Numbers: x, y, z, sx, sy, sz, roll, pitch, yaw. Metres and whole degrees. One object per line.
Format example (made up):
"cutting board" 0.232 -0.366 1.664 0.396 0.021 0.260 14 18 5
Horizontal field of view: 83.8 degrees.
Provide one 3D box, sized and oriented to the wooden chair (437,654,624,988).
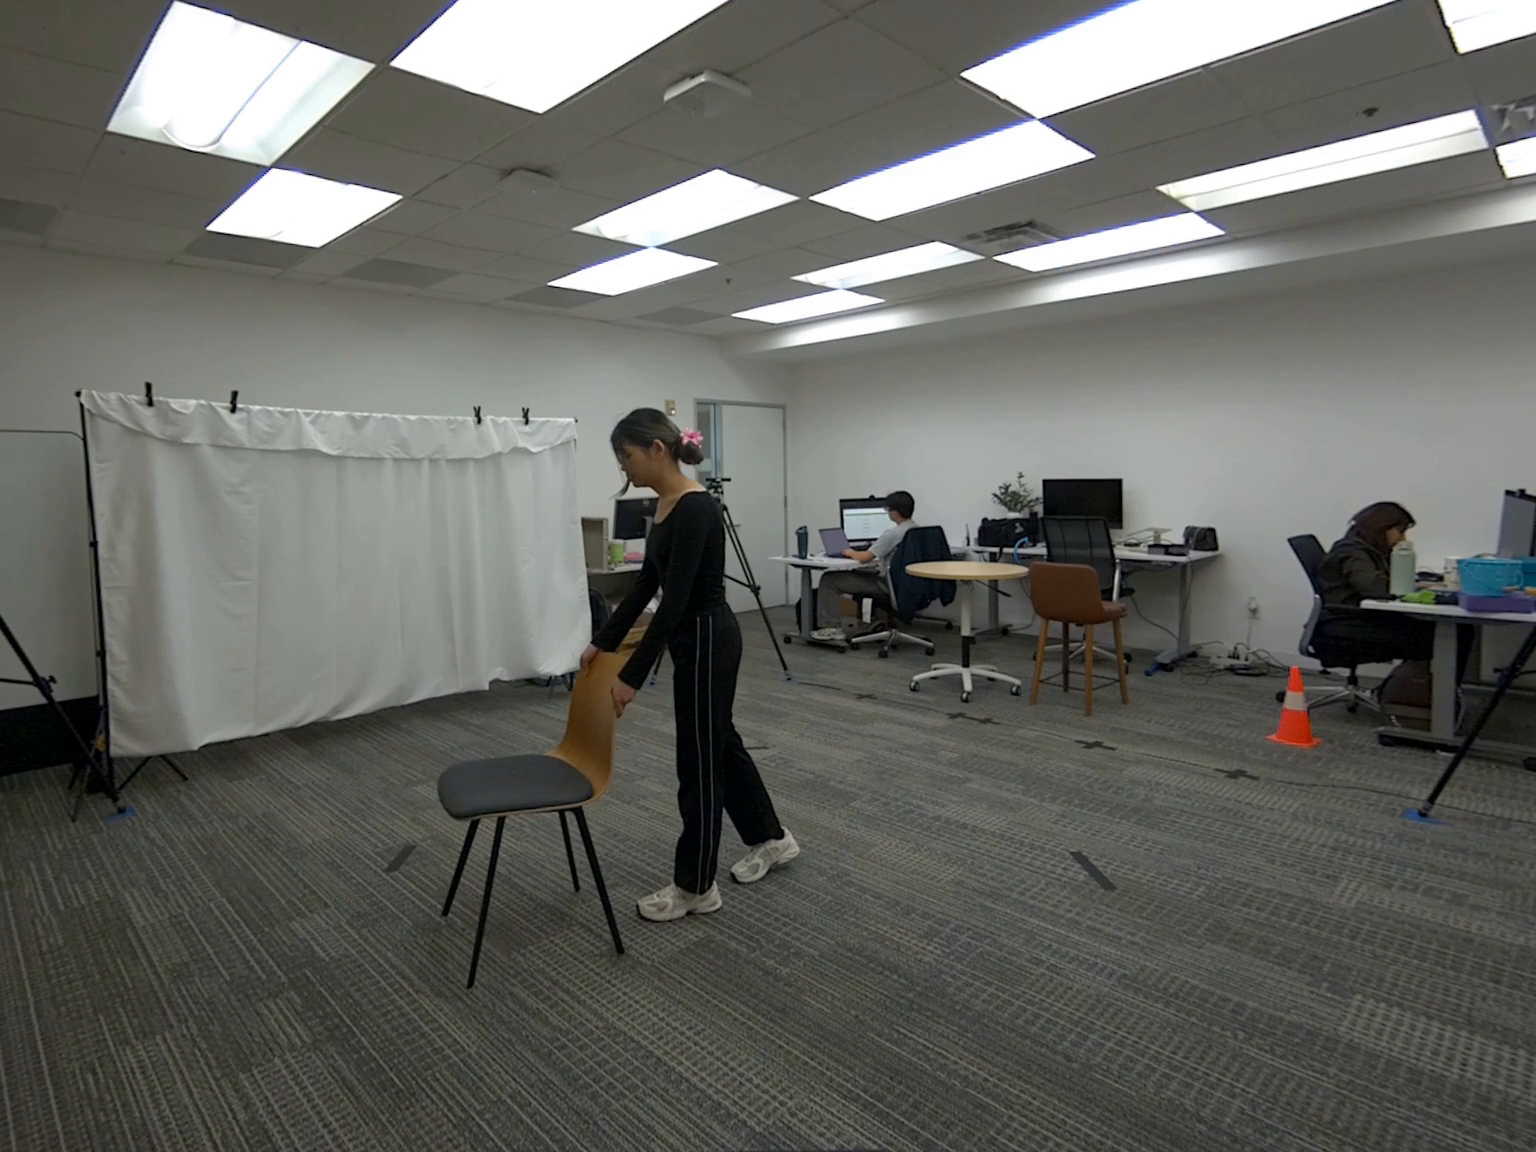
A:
"wooden chair" -0.724 0.677 2.597 0.510 0.877 0.491 5 1 -28
